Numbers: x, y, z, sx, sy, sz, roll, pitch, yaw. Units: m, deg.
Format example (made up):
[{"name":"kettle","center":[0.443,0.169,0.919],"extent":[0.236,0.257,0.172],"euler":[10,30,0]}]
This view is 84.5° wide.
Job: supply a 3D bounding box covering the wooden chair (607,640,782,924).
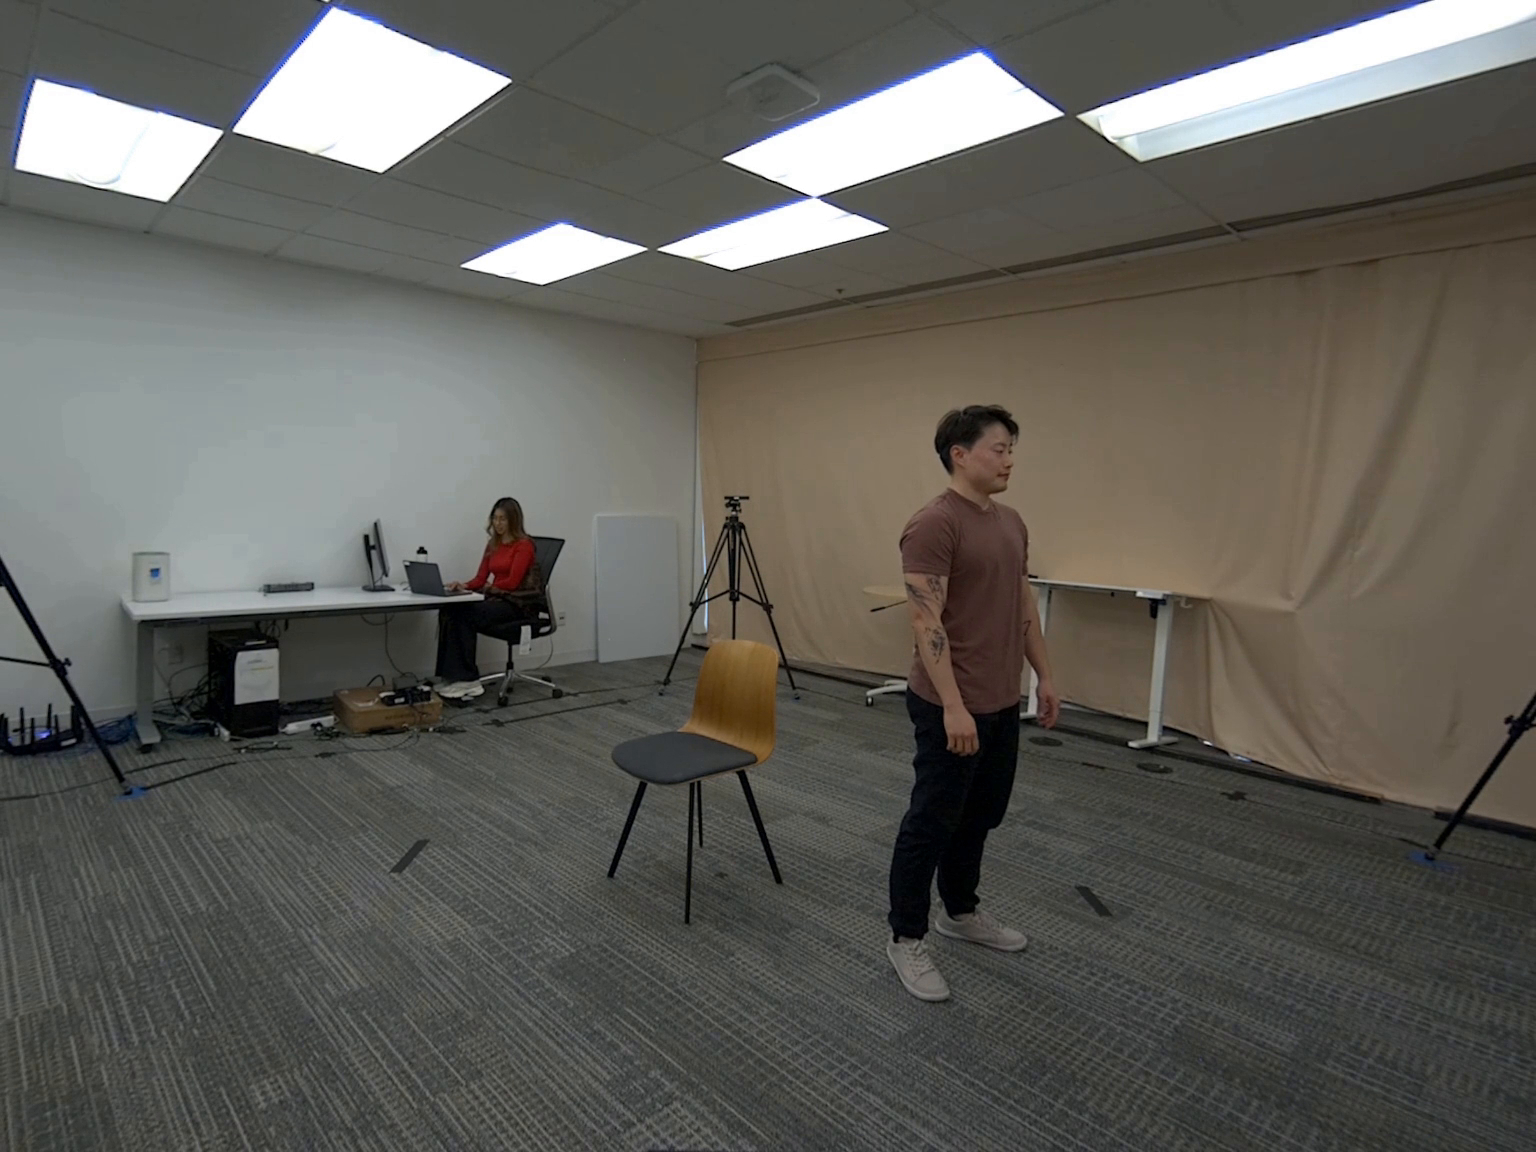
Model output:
[{"name":"wooden chair","center":[-0.266,0.683,3.018],"extent":[0.510,0.877,0.490],"euler":[4,1,-44]}]
